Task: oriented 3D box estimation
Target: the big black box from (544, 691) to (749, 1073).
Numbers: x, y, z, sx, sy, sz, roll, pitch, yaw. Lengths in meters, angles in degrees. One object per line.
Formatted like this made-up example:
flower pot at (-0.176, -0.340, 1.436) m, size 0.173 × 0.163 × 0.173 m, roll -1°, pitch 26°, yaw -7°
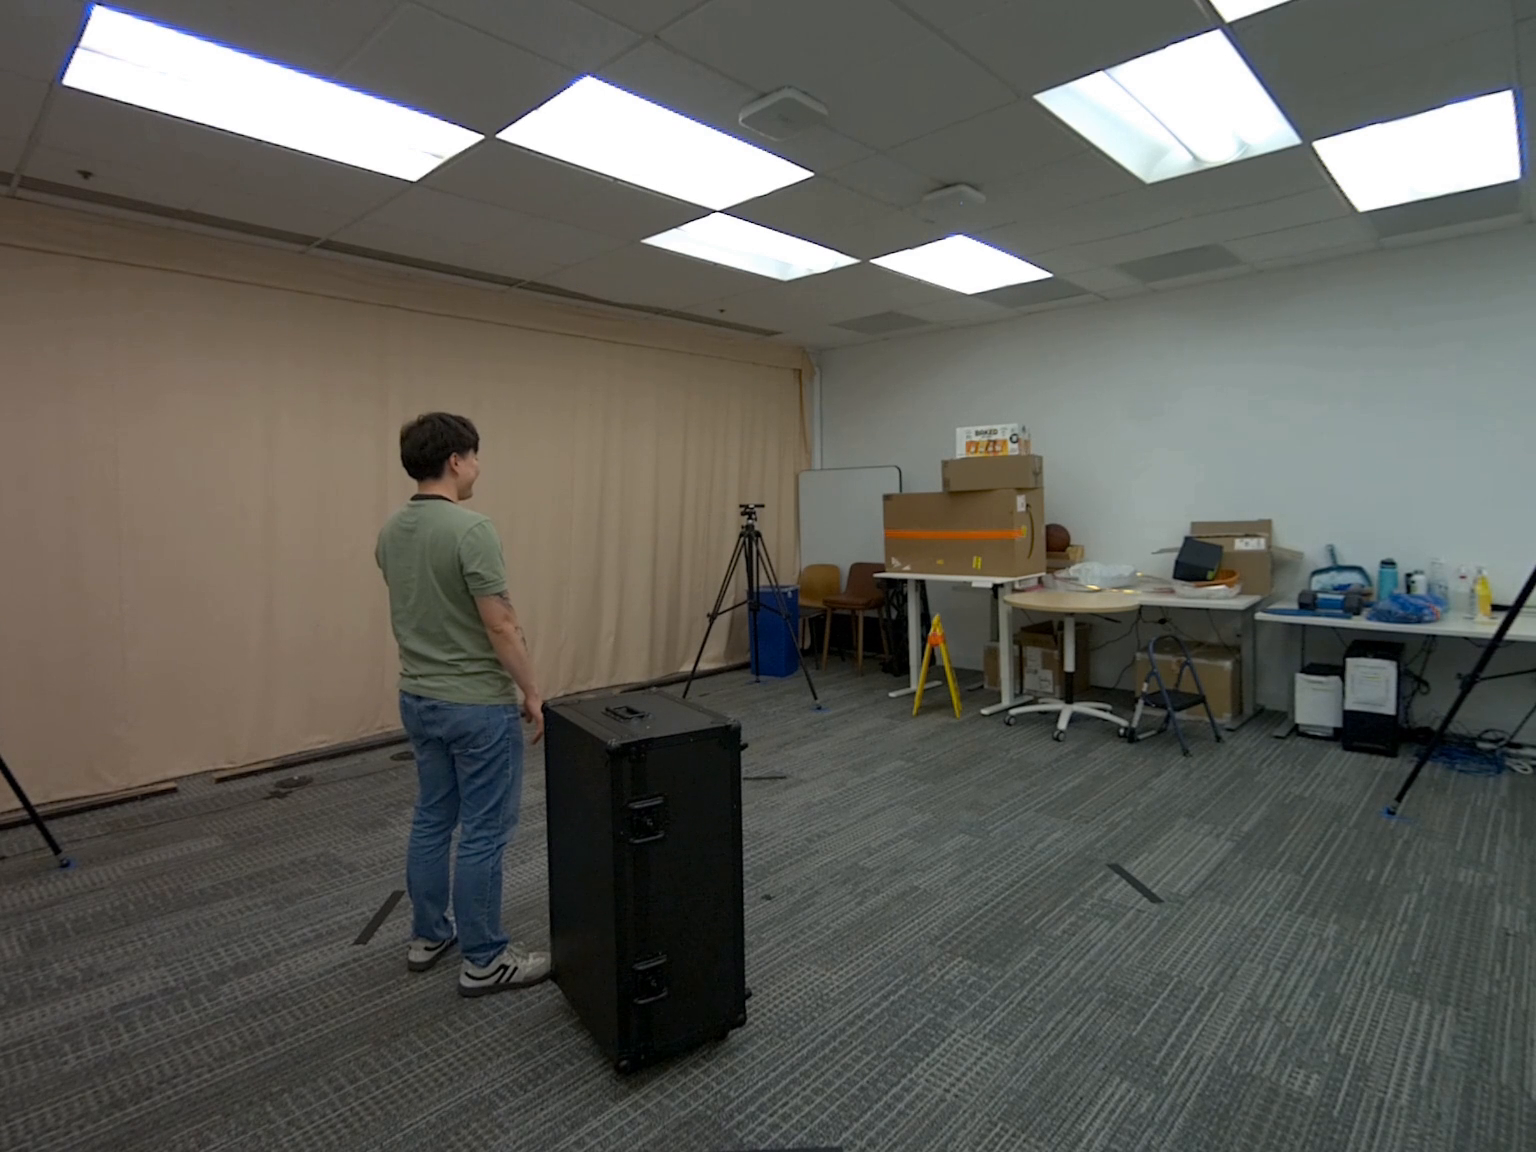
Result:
big black box at (-0.326, 0.782, 2.241) m, size 0.385 × 0.860 × 0.536 m, roll -2°, pitch 3°, yaw -32°
